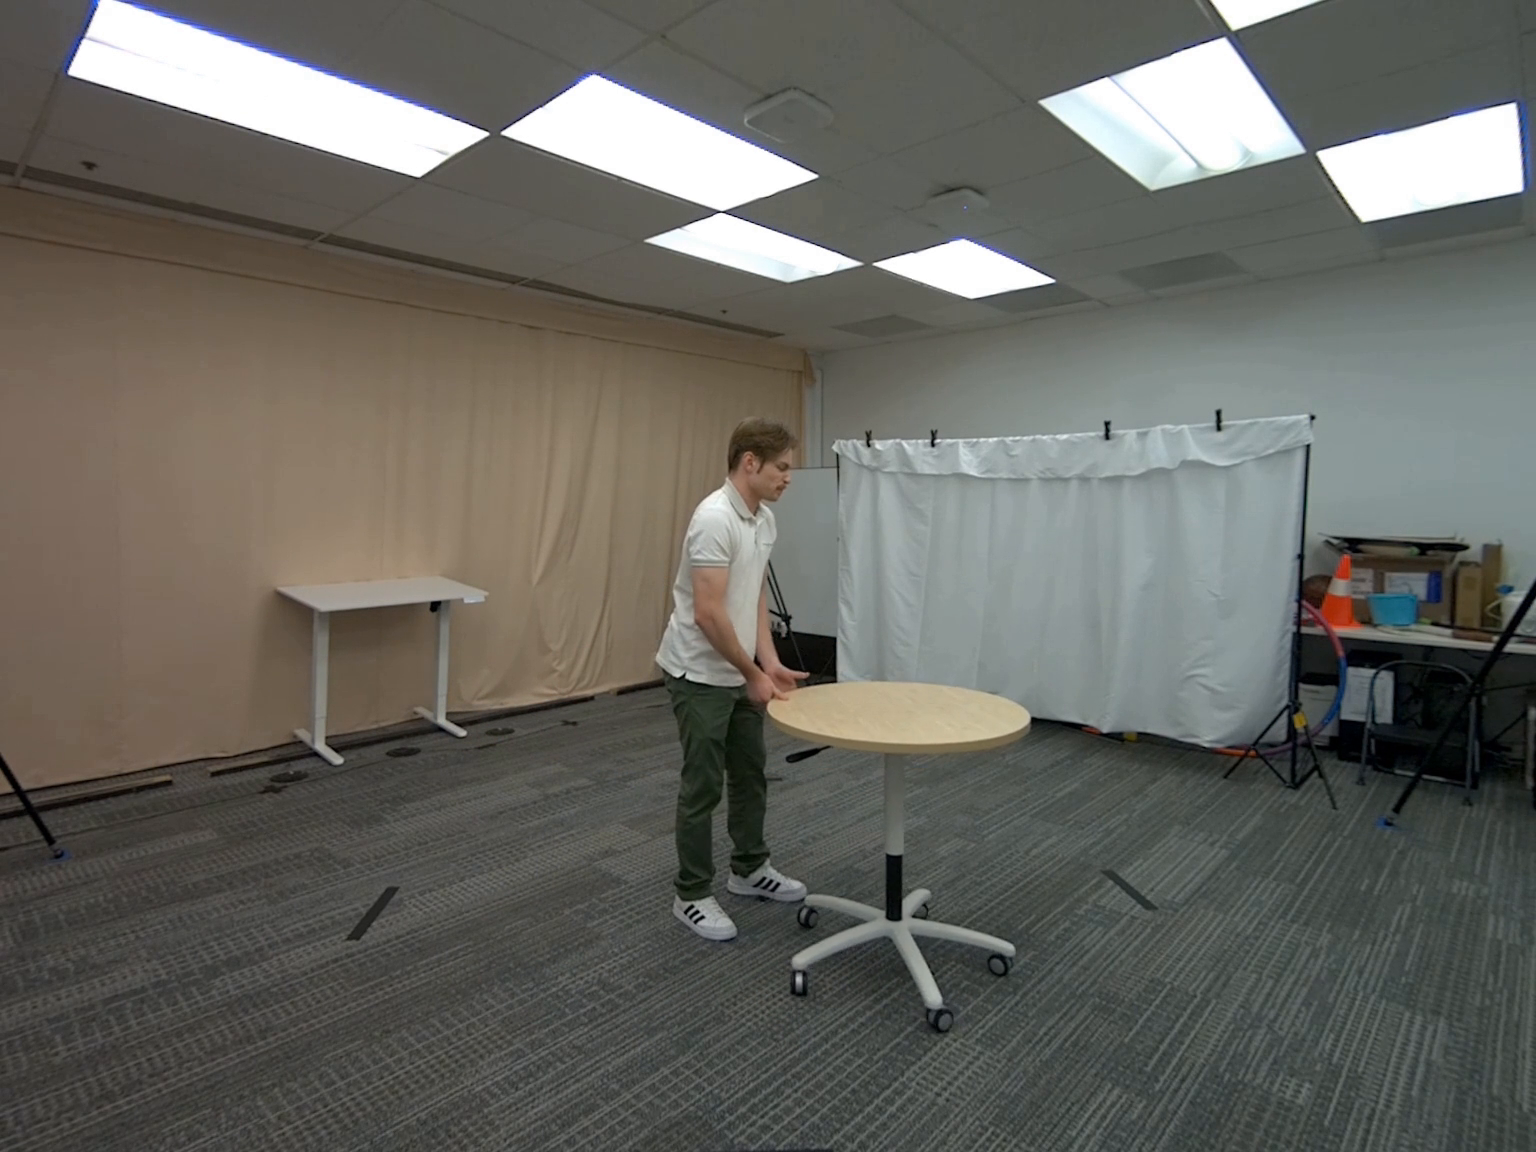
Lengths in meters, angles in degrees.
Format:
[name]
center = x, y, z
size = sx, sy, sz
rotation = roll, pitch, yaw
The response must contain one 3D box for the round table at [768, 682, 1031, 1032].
[round table]
center = 0.386, 0.793, 2.533
size = 0.763, 0.792, 0.767
rotation = 0, 4, -2
